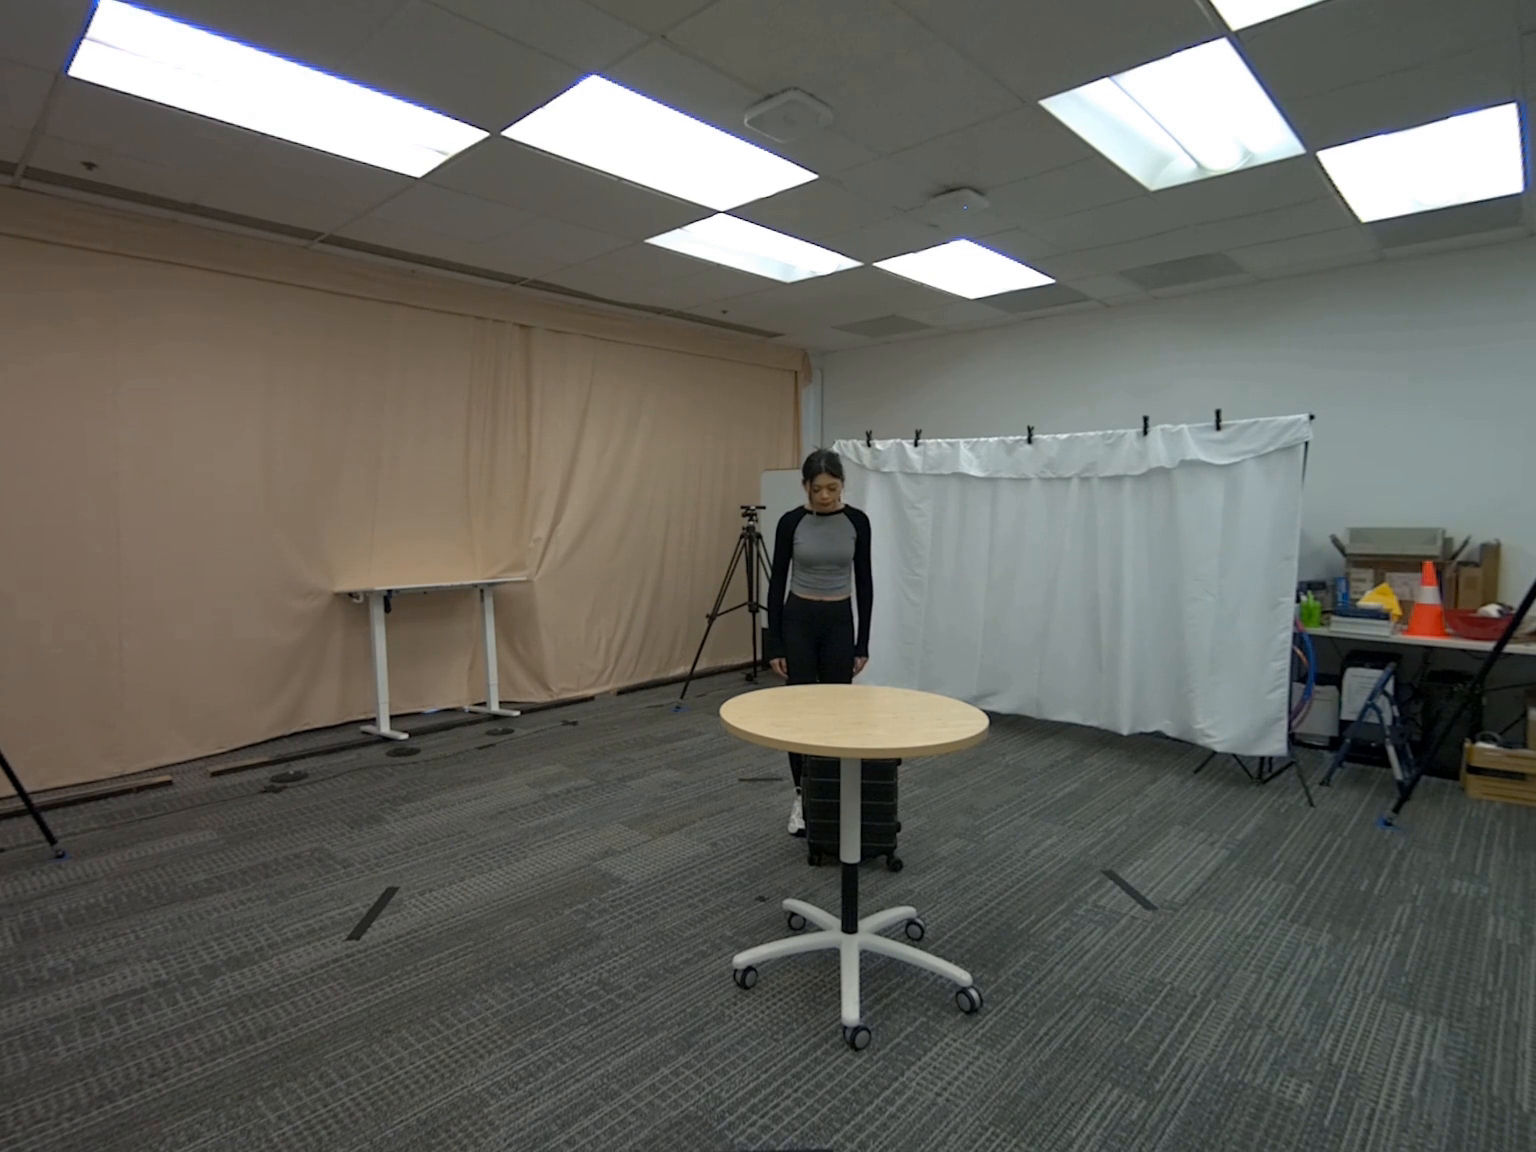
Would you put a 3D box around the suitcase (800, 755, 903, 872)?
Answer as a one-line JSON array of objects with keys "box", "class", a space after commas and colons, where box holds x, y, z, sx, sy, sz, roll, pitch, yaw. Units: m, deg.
[{"box": [0.334, 0.842, 3.328, 0.378, 0.548, 0.247, -1, 3, 6], "class": "suitcase"}]
